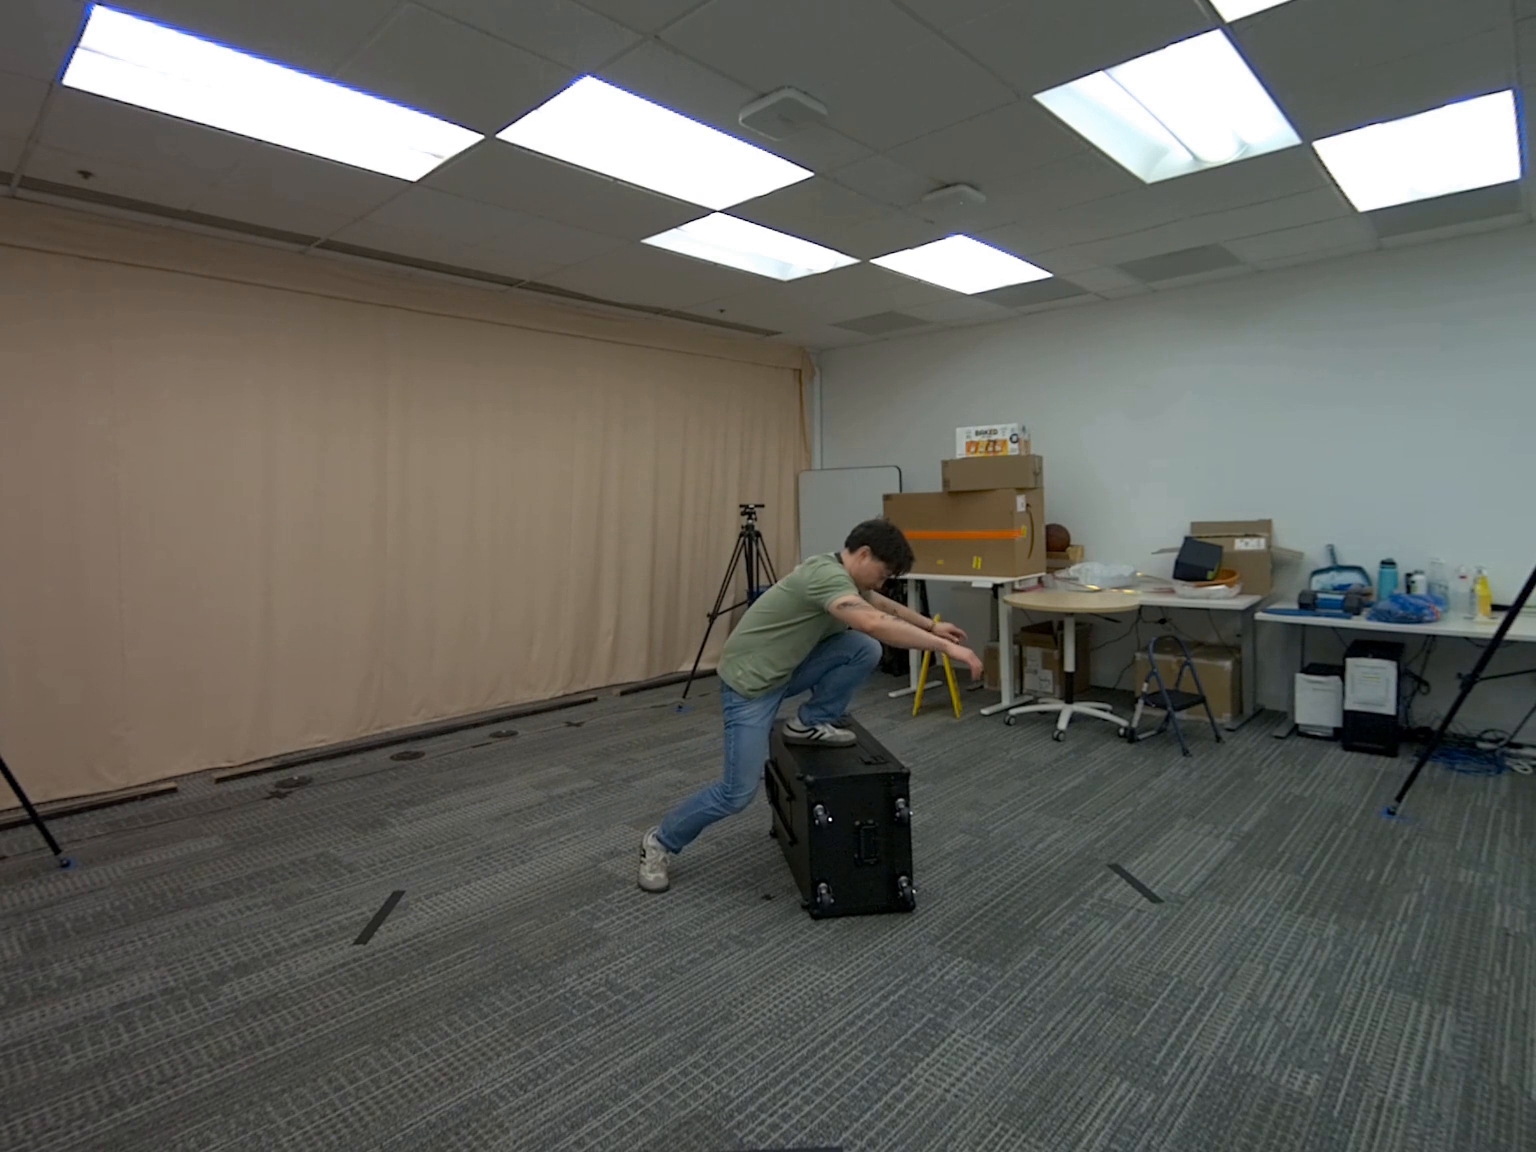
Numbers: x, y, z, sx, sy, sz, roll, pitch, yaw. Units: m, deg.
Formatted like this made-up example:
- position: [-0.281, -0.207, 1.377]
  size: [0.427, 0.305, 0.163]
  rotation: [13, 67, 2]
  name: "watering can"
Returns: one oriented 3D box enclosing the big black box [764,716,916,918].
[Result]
- position: [0.242, 0.864, 3.169]
  size: [0.393, 0.520, 0.871]
  rotation: [-3, 5, -9]
  name: "big black box"
